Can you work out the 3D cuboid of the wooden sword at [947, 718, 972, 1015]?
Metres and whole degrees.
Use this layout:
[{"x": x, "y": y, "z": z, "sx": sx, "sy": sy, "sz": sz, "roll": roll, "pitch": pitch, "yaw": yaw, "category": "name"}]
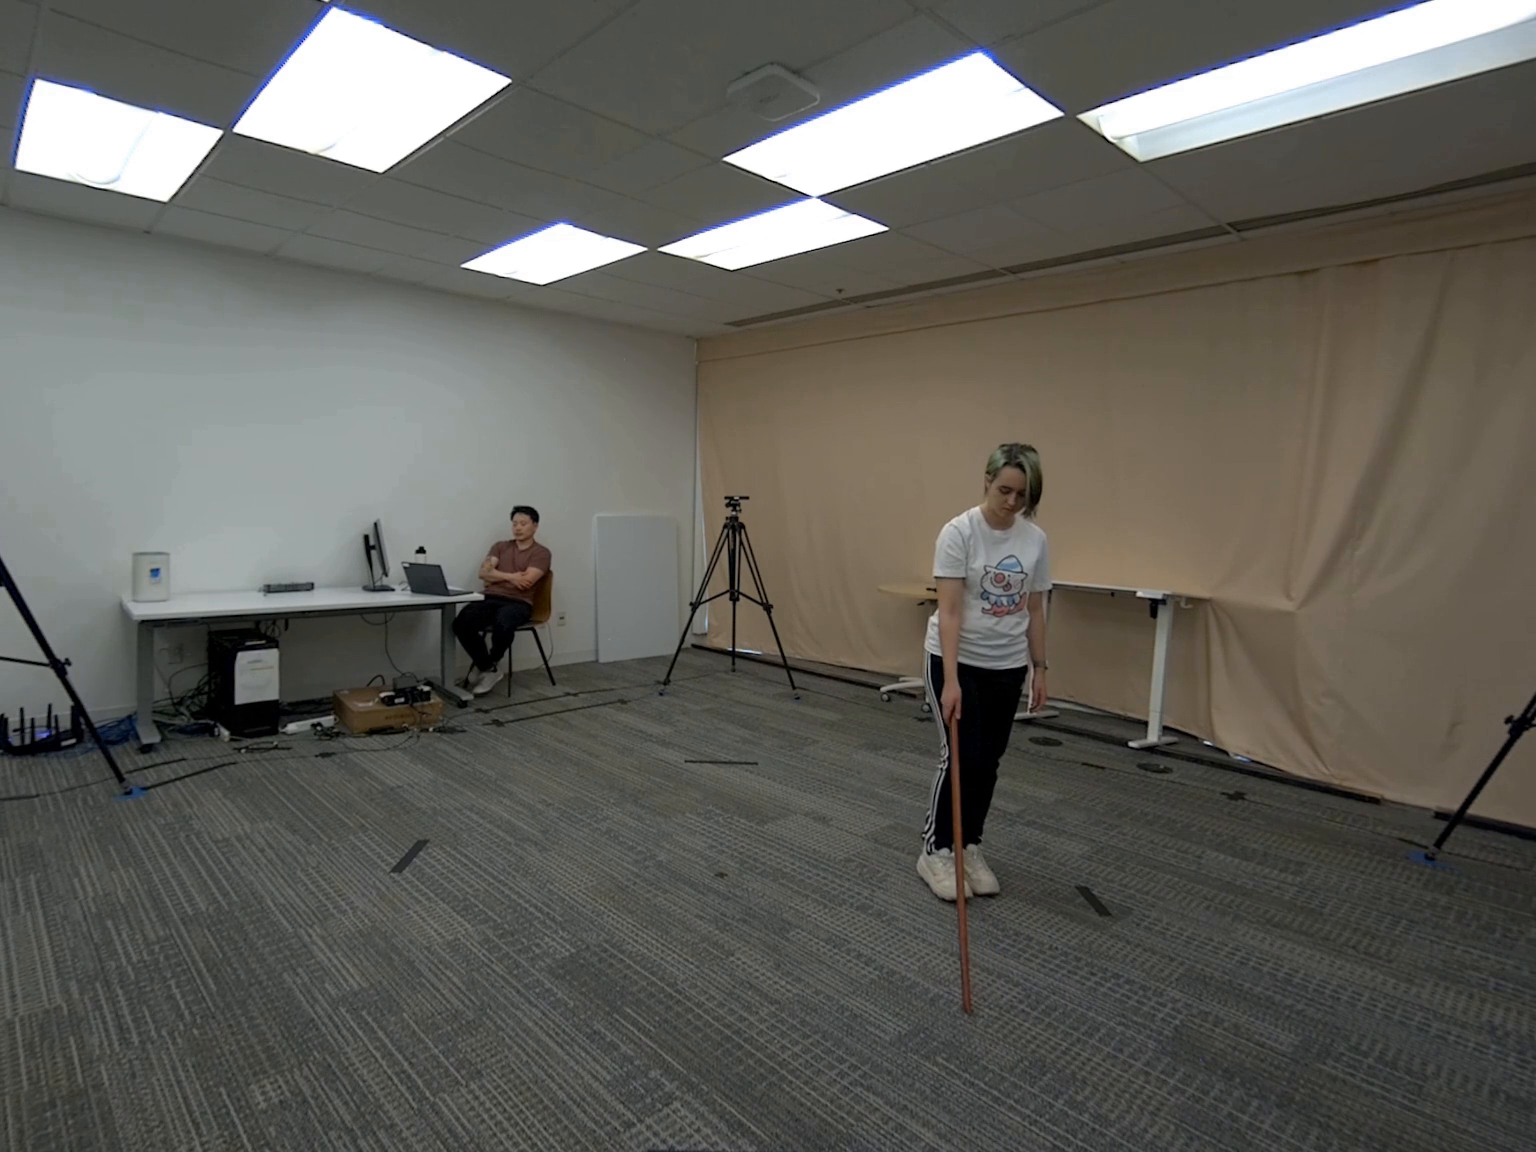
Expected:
[{"x": 0.591, "y": 0.801, "z": 2.613, "sx": 0.024, "sy": 1.044, "sz": 0.050, "roll": -22, "pitch": -45, "yaw": 31, "category": "wooden sword"}]
